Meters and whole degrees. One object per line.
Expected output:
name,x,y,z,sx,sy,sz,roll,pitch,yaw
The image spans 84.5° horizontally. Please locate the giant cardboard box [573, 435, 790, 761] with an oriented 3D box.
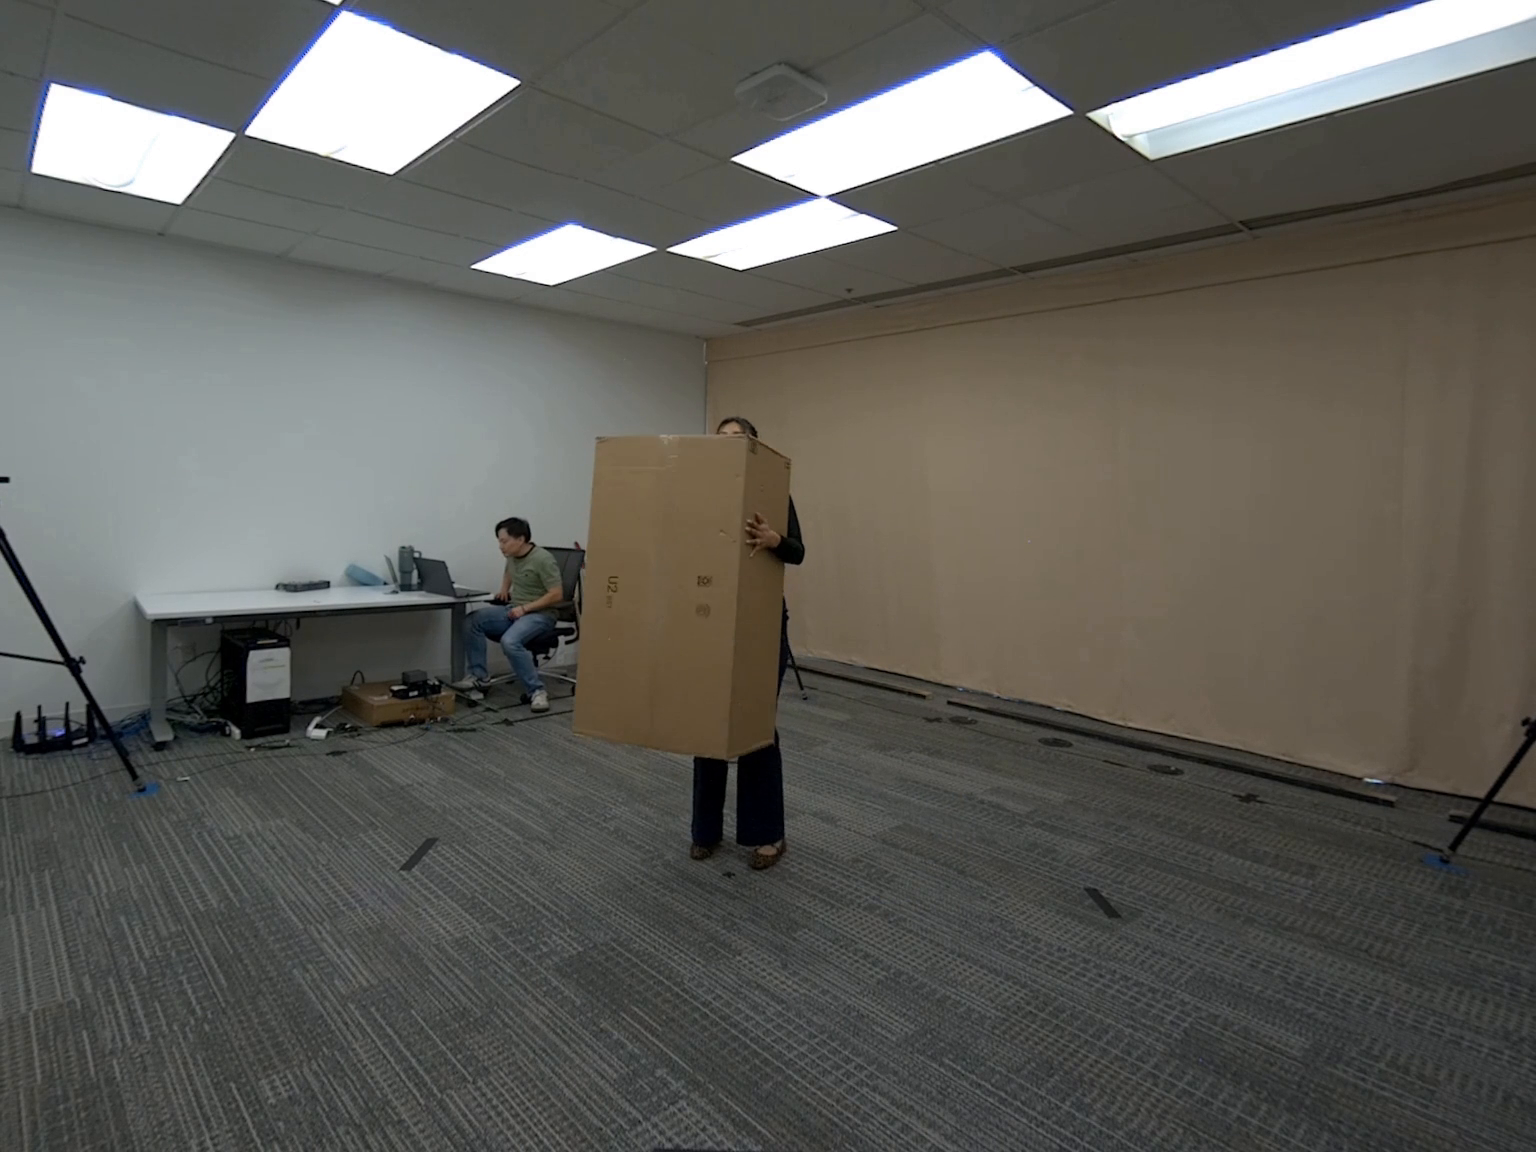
giant cardboard box,-0.284,0.060,2.934,0.588,1.029,0.417,2,-5,23
